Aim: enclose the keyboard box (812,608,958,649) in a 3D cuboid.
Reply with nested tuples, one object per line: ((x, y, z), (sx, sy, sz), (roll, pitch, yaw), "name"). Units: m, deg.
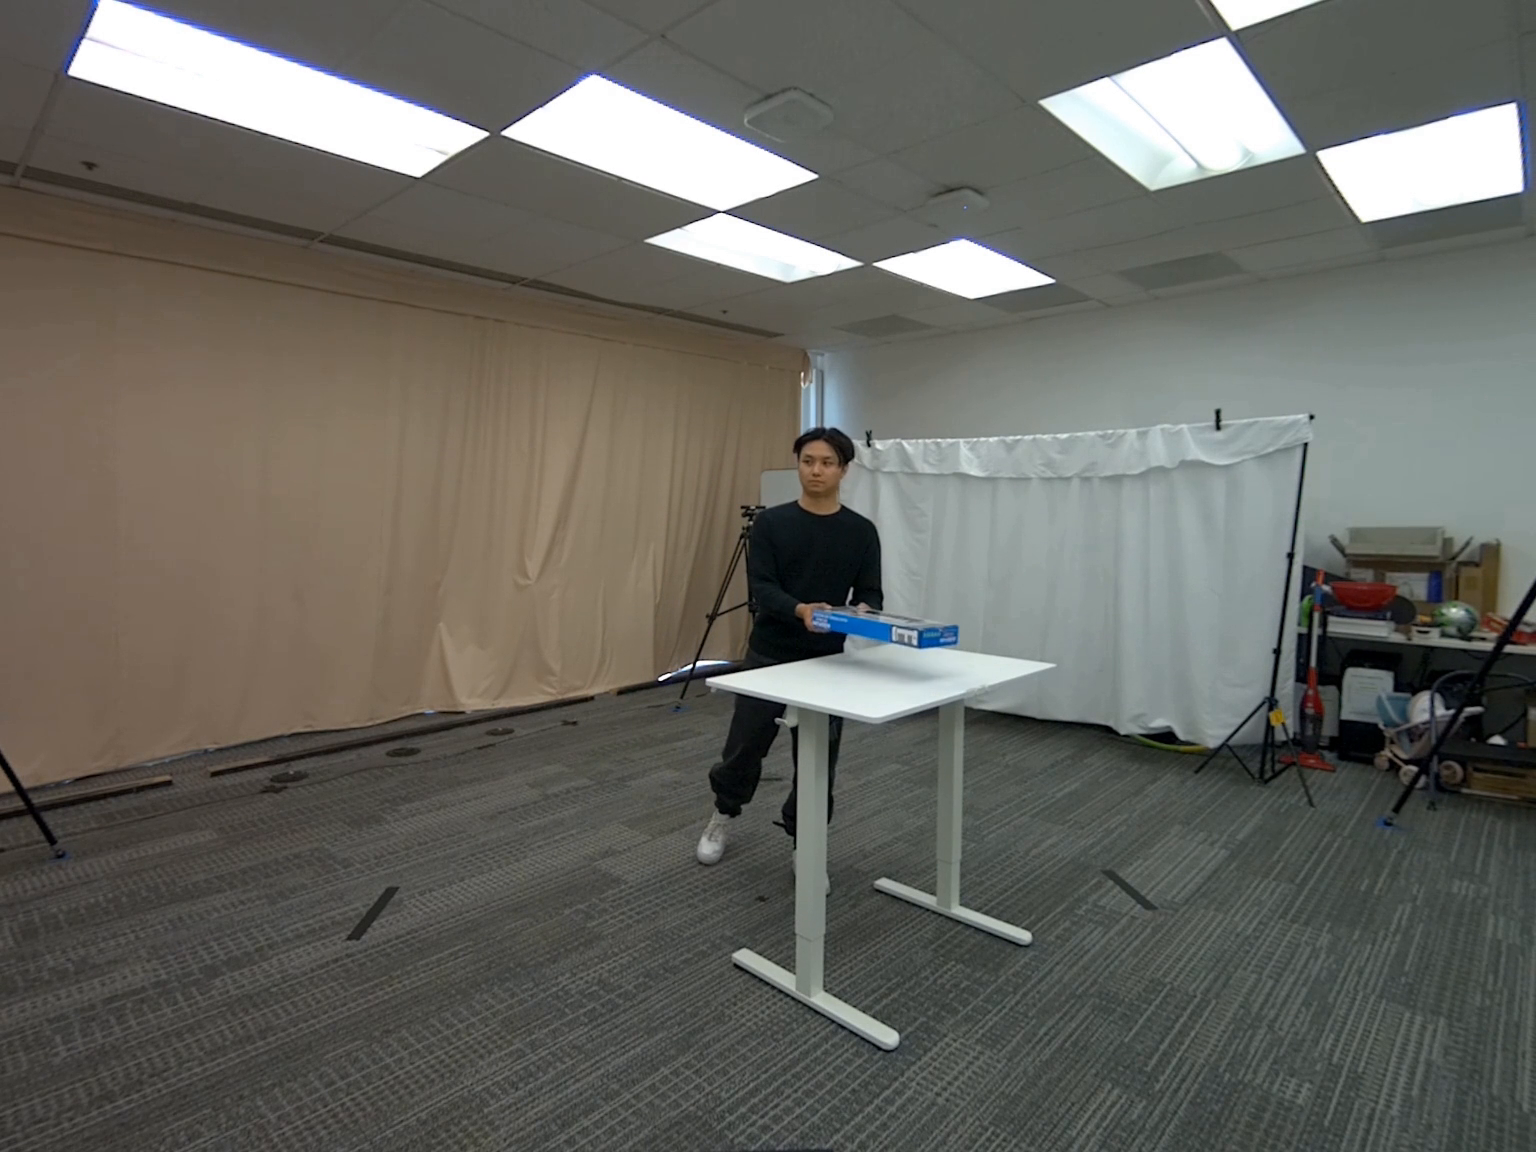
((0.349, 0.156, 2.588), (0.171, 0.059, 0.451), (-1, 6, -37), "keyboard box")
